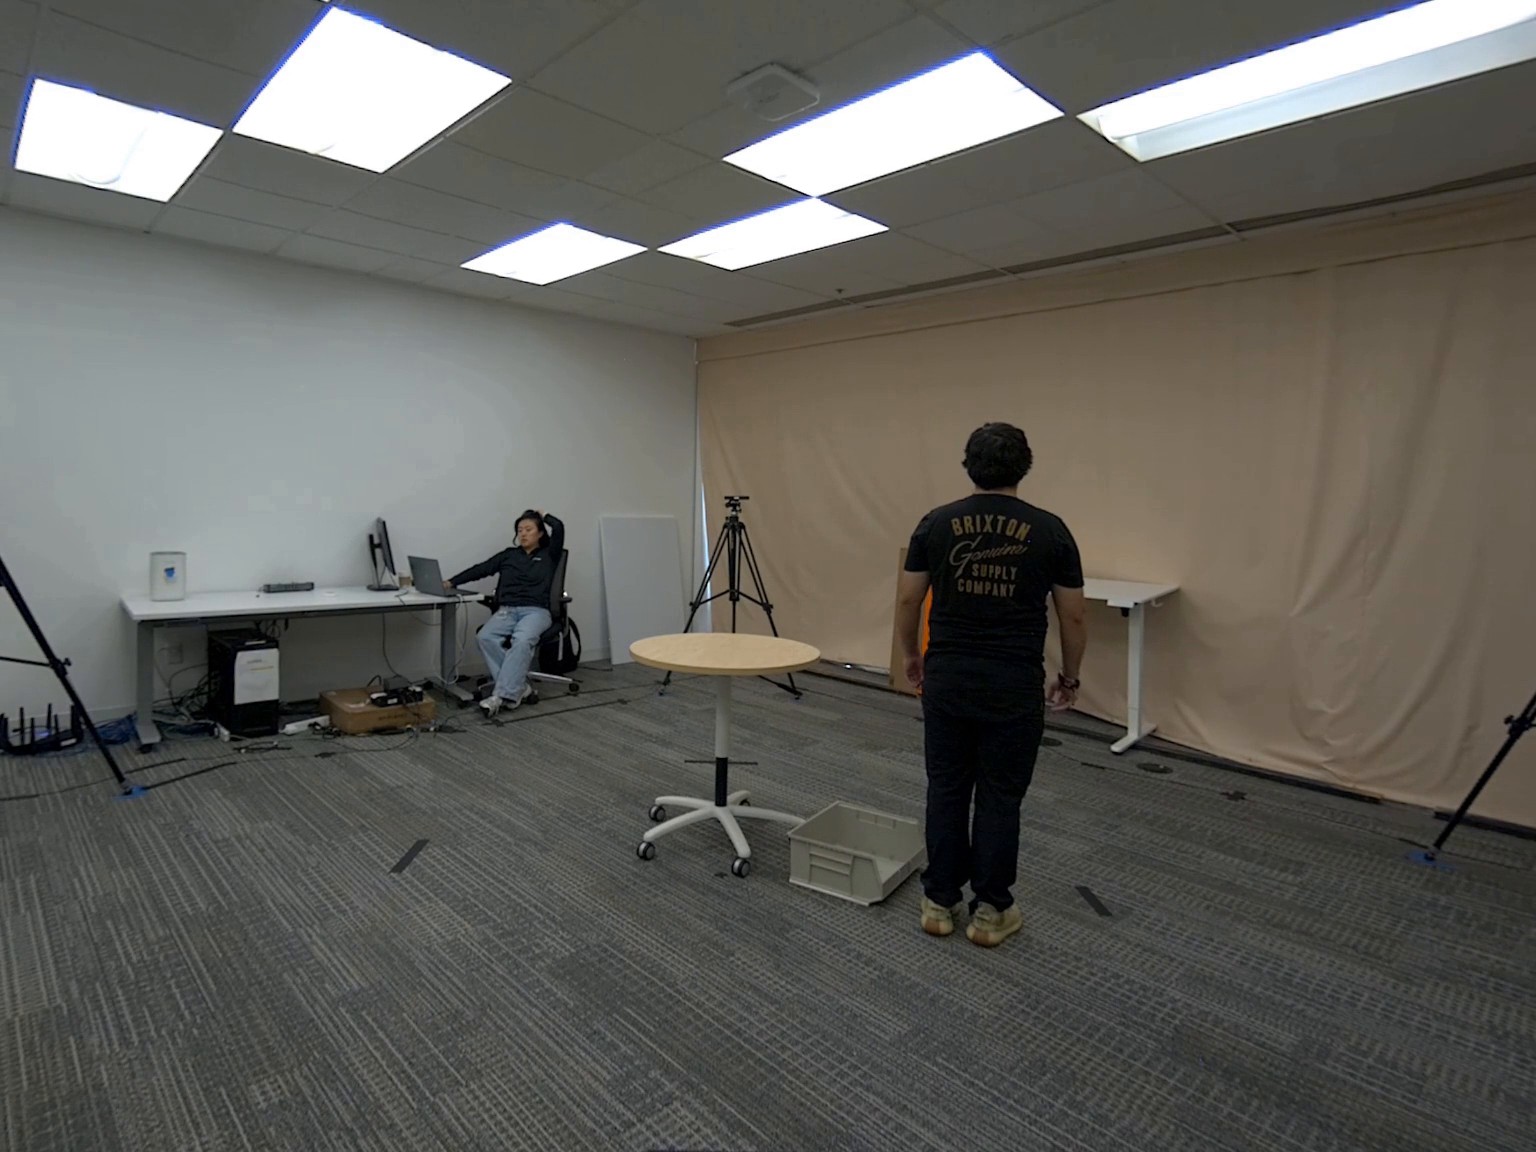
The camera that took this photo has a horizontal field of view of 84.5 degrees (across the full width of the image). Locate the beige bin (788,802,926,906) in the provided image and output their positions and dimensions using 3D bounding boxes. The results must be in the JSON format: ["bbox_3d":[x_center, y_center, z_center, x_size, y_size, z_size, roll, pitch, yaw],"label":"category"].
[{"bbox_3d":[0.319,1.026,3.126,0.386,0.188,0.414,3,6,32],"label":"beige bin"}]
